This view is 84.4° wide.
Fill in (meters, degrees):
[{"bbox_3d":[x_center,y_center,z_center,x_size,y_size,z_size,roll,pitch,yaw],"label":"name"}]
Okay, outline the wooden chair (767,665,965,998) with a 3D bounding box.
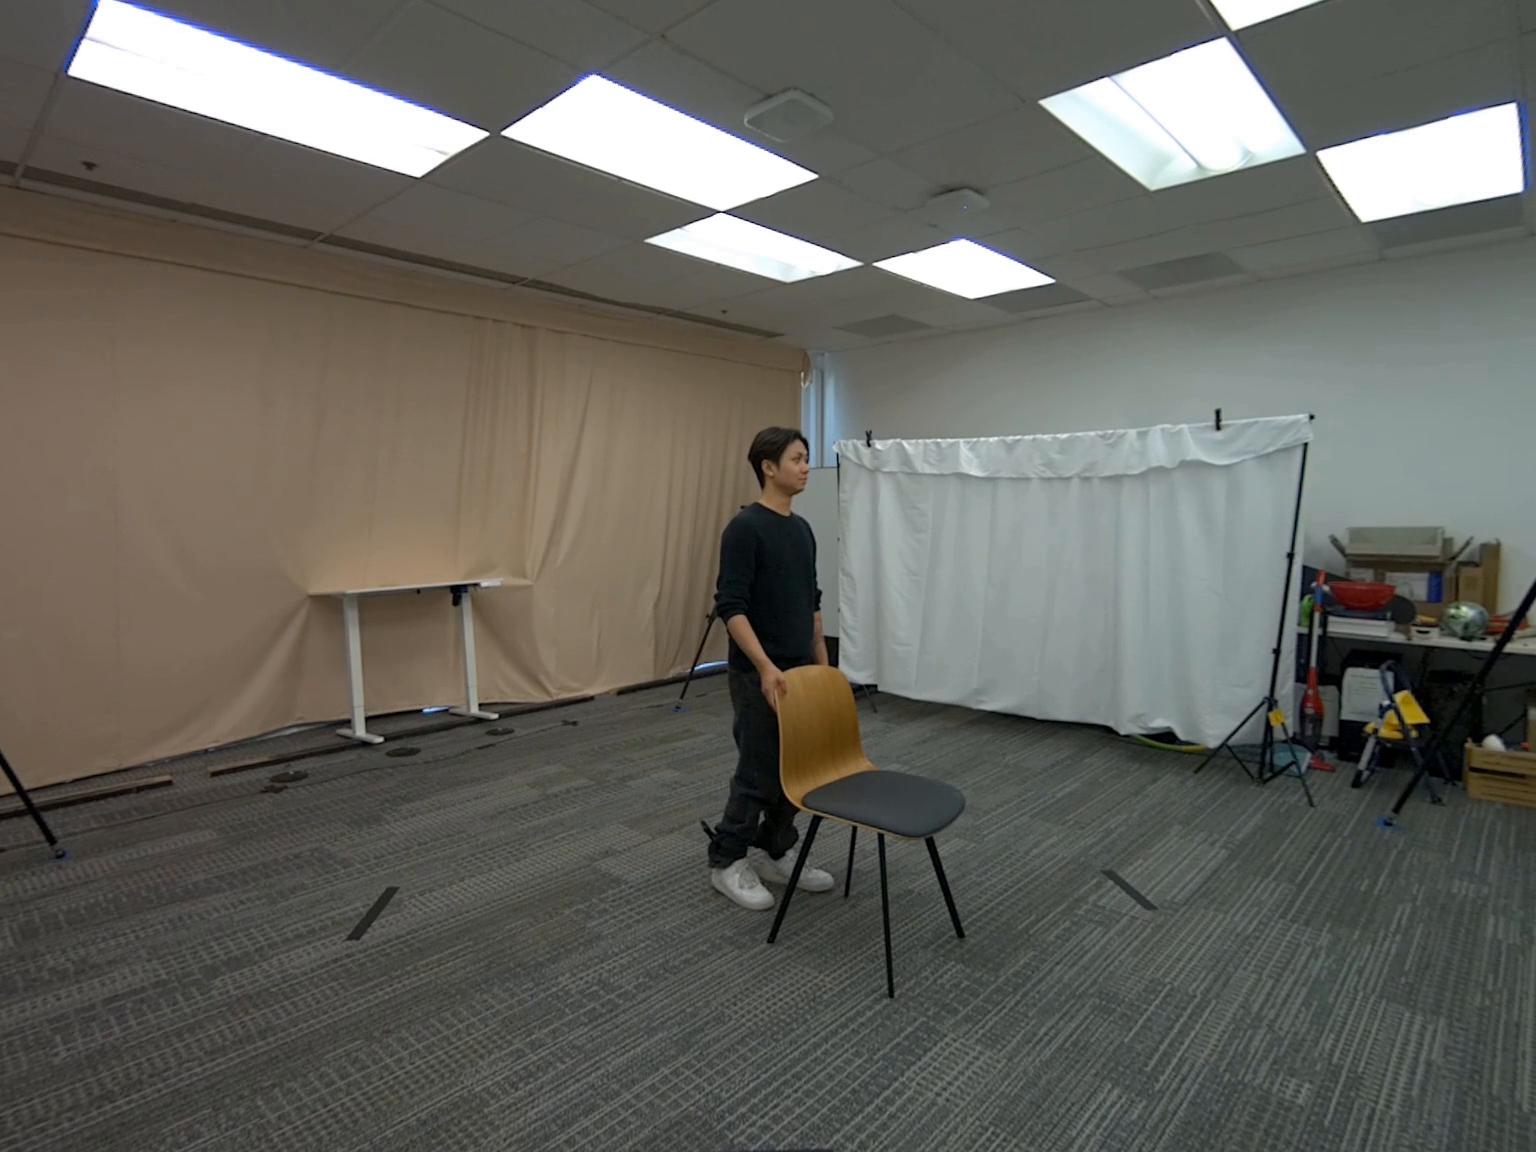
[{"bbox_3d":[0.327,0.743,2.660,0.539,0.877,0.463,-4,0,41],"label":"wooden chair"}]
